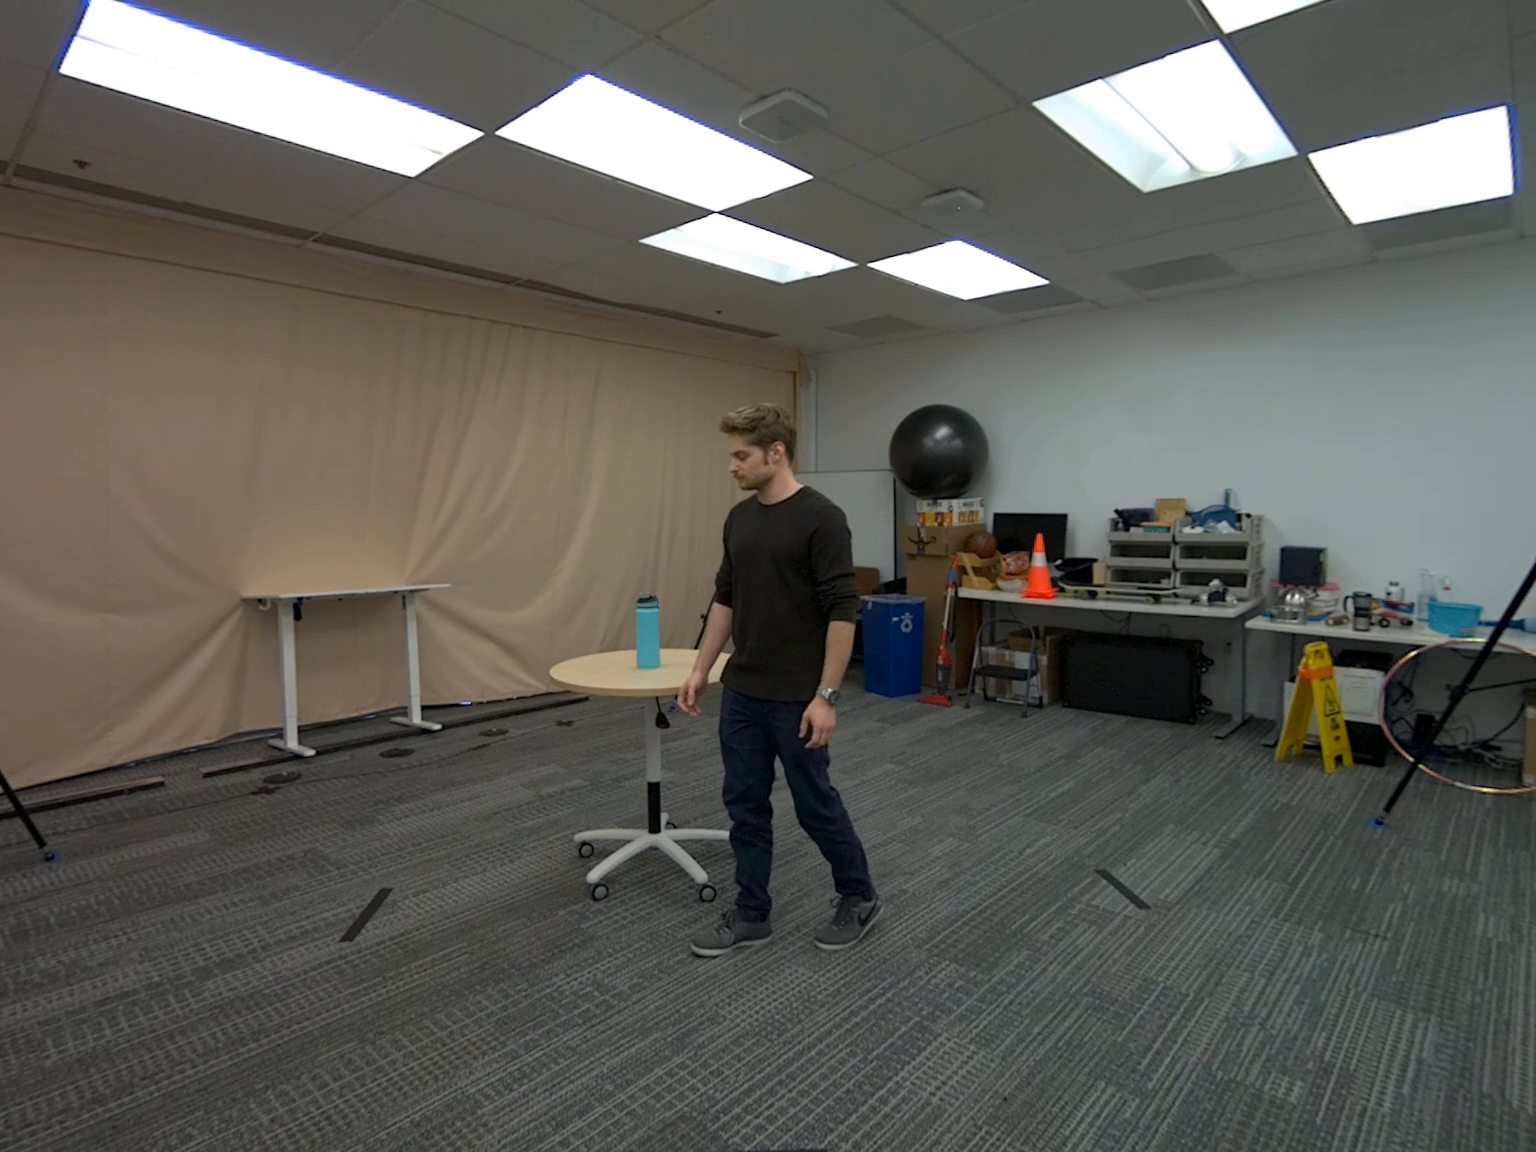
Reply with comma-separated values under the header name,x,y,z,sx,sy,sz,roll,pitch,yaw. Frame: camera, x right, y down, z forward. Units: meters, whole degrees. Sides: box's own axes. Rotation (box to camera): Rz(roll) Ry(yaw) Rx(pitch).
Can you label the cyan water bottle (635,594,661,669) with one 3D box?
name,x,y,z,sx,sy,sz,roll,pitch,yaw
cyan water bottle,-0.460,0.209,3.208,0.092,0.283,0.092,0,2,-2
